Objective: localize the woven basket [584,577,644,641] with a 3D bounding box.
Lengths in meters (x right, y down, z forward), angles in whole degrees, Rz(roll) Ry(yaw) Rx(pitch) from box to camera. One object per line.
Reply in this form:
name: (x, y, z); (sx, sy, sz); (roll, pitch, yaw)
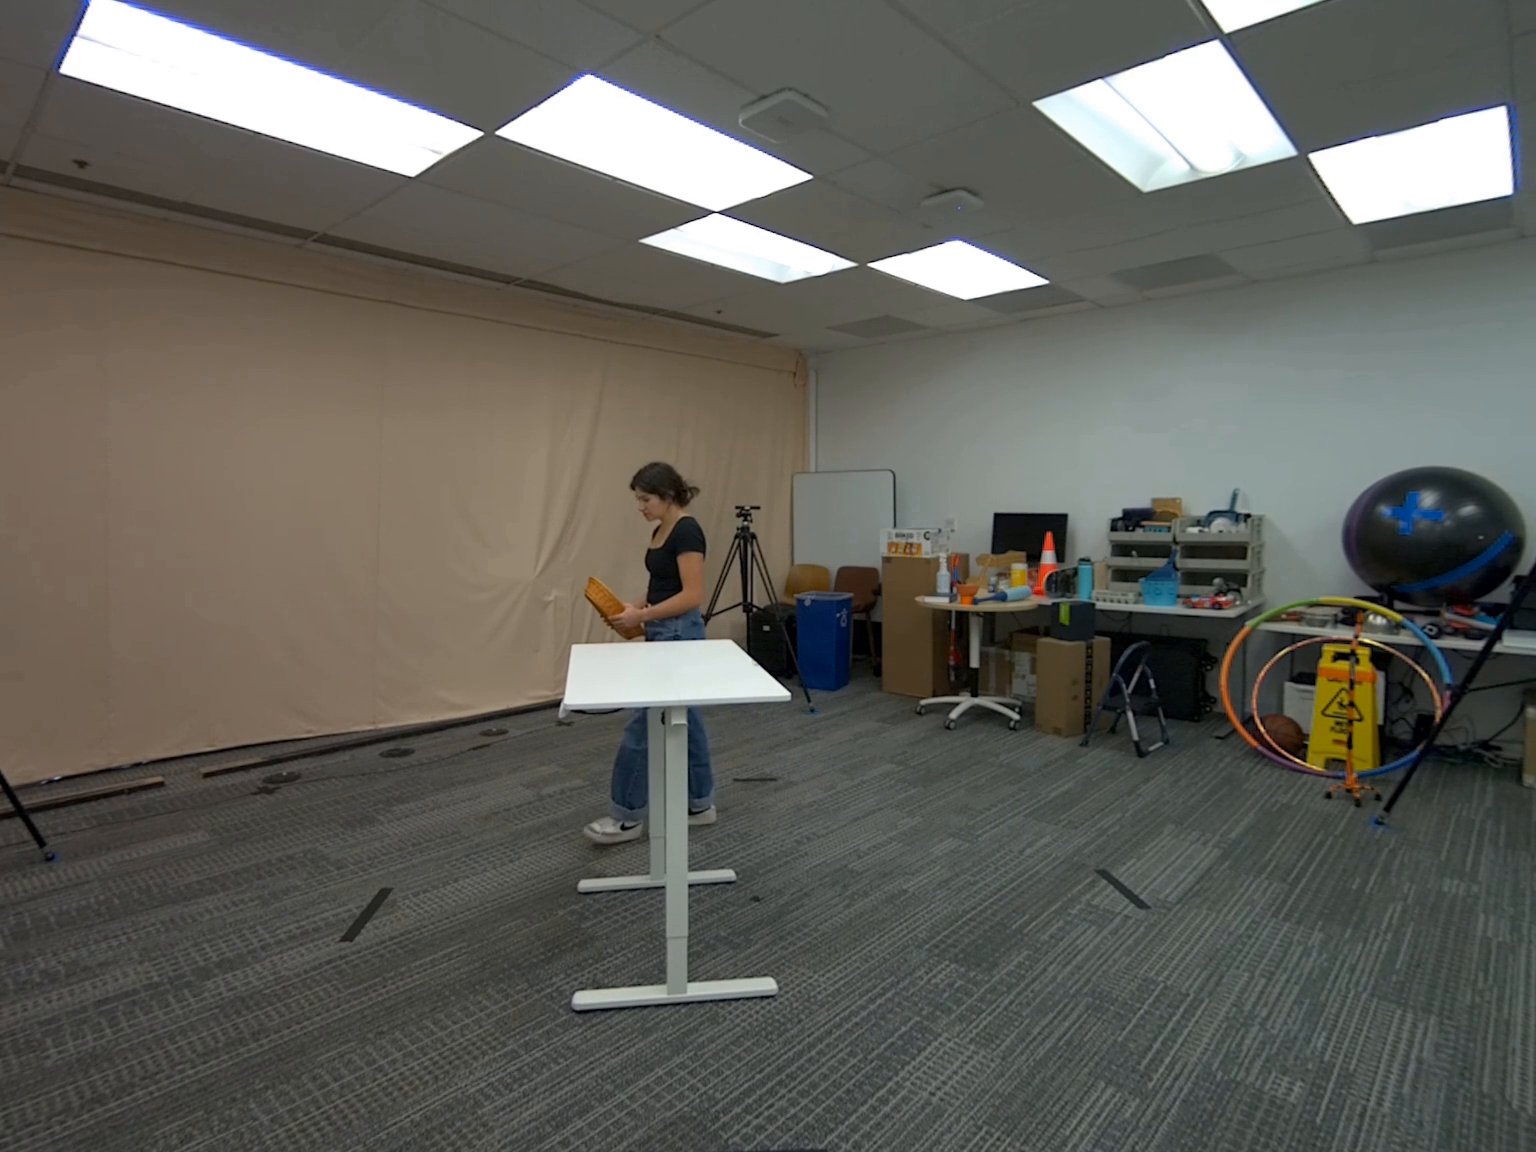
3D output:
woven basket: (-0.665, 0.149, 3.552); (0.073, 0.343, 0.259); (-46, 19, -18)
